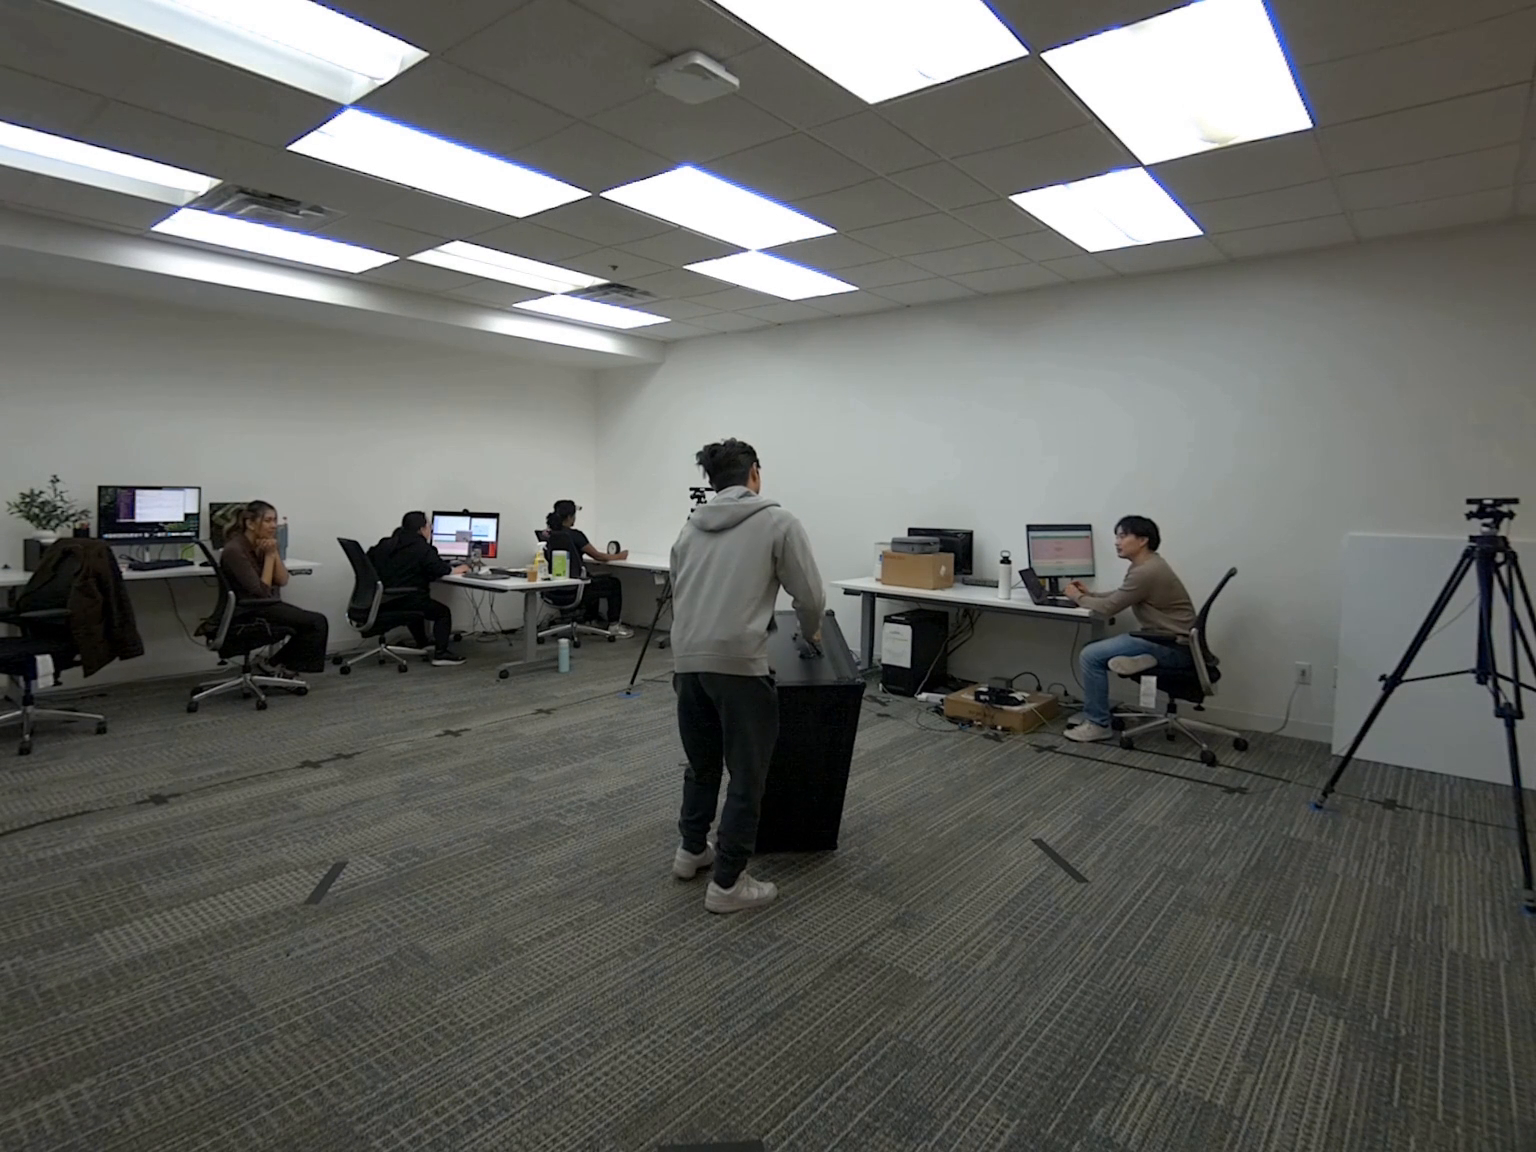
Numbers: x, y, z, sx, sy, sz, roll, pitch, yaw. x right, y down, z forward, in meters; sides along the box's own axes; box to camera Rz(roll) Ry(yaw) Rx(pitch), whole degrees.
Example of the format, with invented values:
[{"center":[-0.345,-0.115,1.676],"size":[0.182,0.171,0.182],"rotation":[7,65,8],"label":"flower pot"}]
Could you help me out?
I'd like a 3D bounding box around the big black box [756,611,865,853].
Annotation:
[{"center":[0.061,0.621,3.286],"size":[0.393,0.843,0.537],"rotation":[0,28,-10],"label":"big black box"}]
